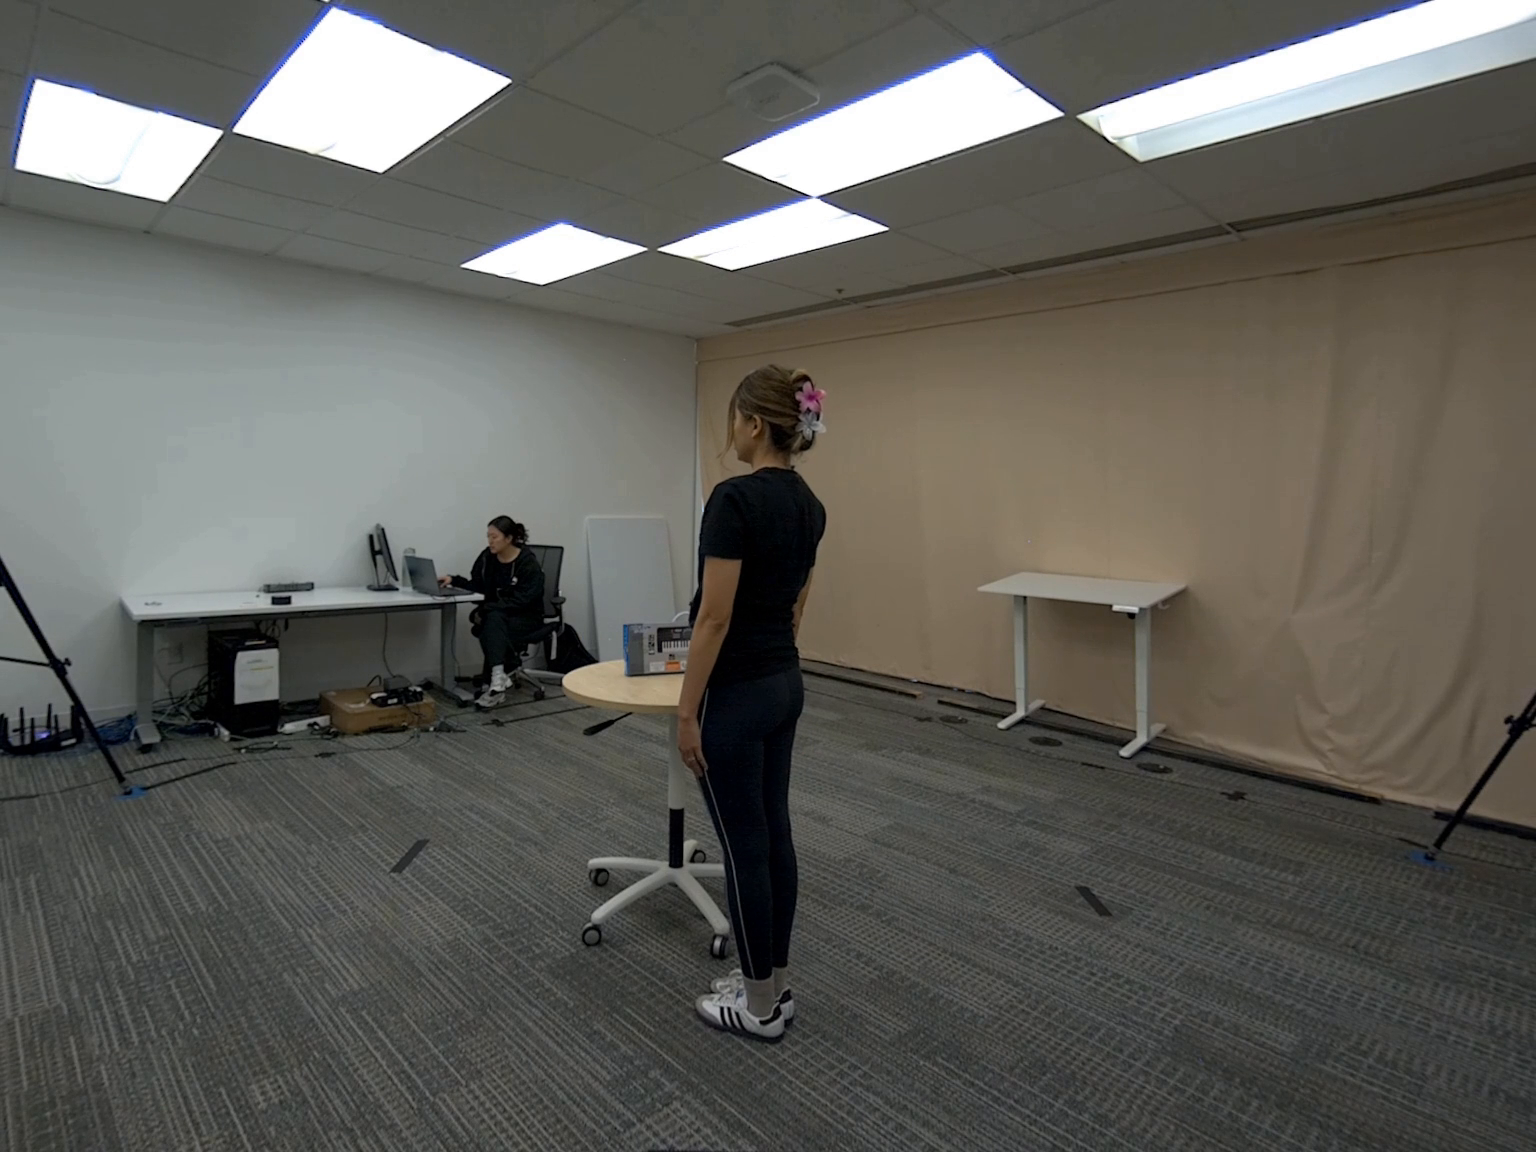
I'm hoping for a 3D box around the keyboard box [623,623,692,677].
[{"bbox_3d":[-0.285,0.248,2.920,0.430,0.176,0.060,-1,-1,-21],"label":"keyboard box"}]
